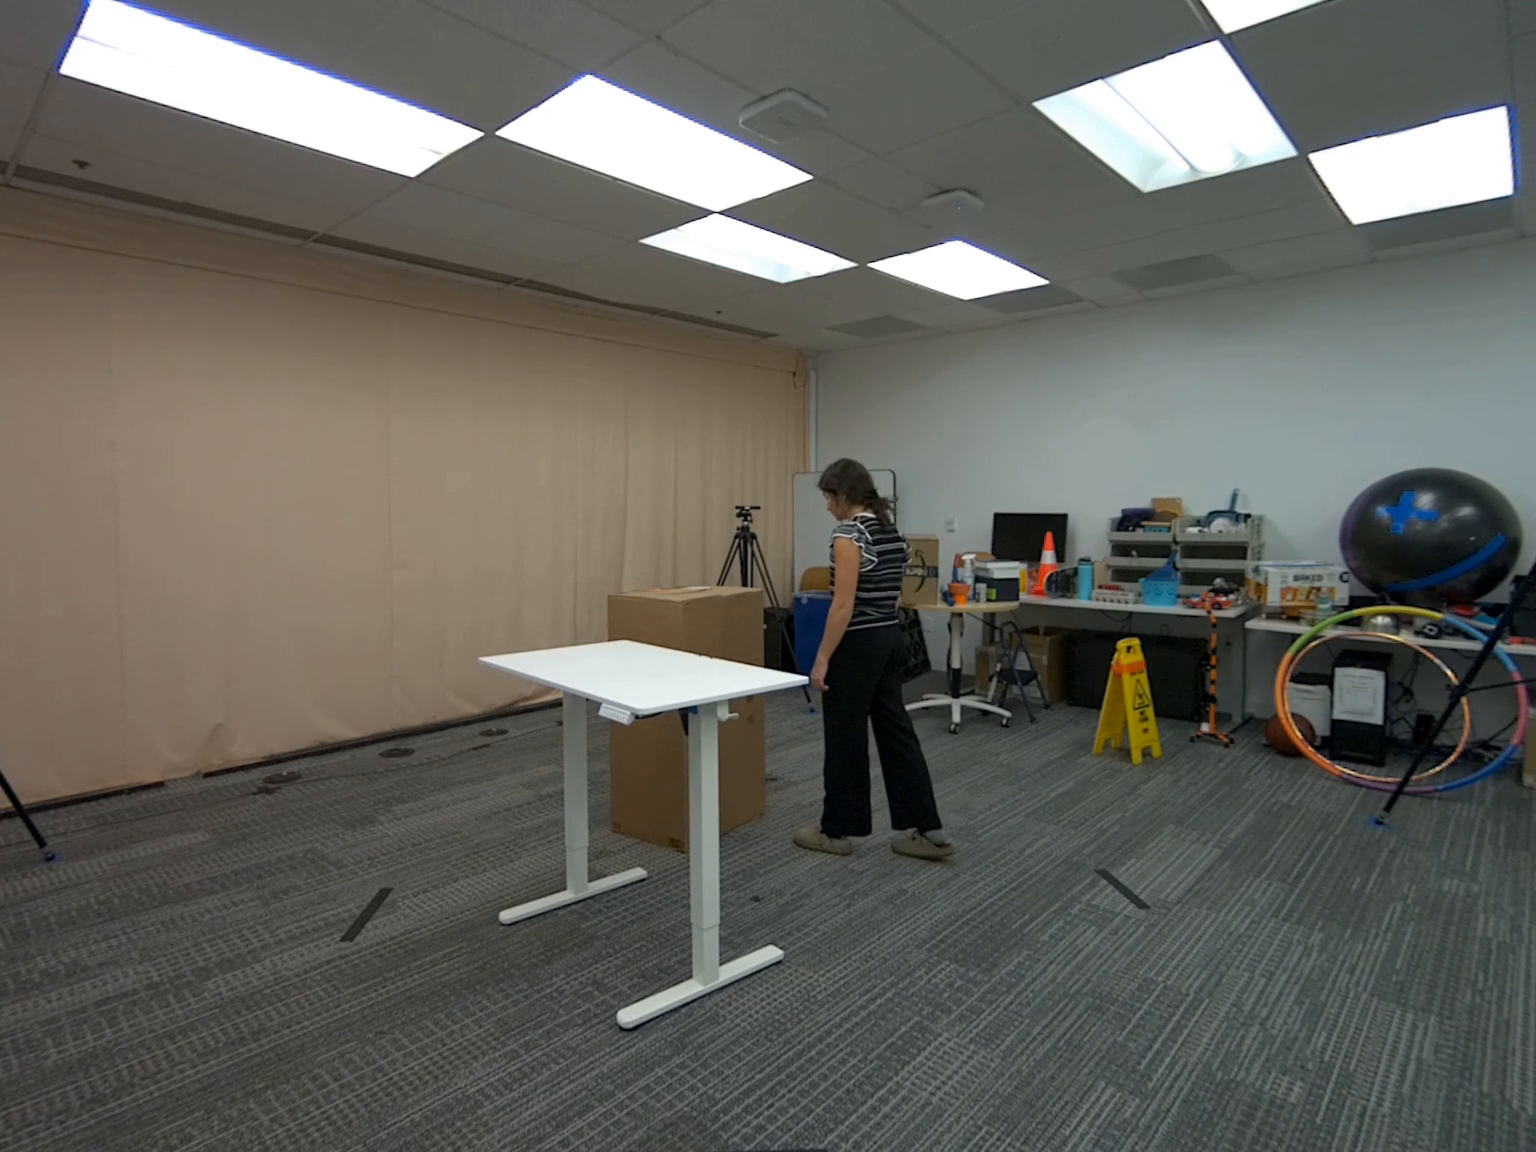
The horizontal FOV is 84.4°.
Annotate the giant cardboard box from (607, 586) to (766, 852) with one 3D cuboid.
[{"bbox_3d":[-0.345,0.579,3.707,0.440,1.024,0.561,2,3,35],"label":"giant cardboard box"}]
